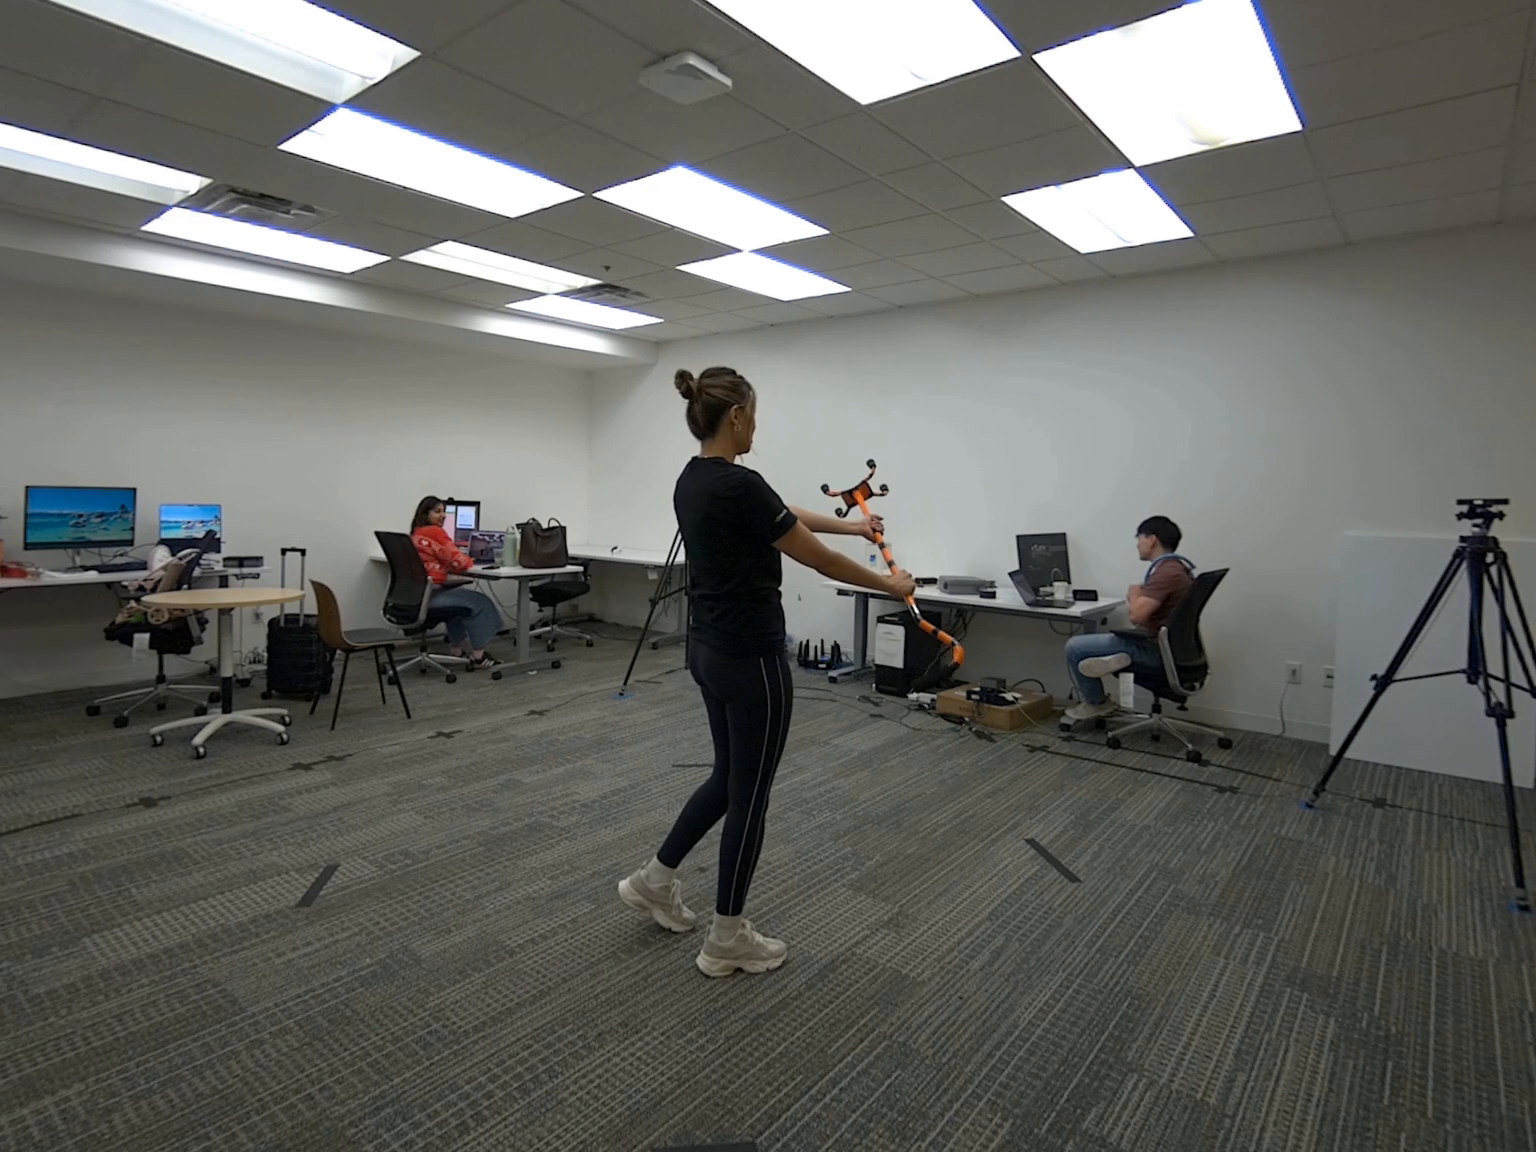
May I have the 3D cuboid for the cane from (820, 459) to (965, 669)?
[{"bbox_3d":[0.382,-0.020,2.608,0.207,0.145,0.941,-28,40,10],"label":"cane"}]
